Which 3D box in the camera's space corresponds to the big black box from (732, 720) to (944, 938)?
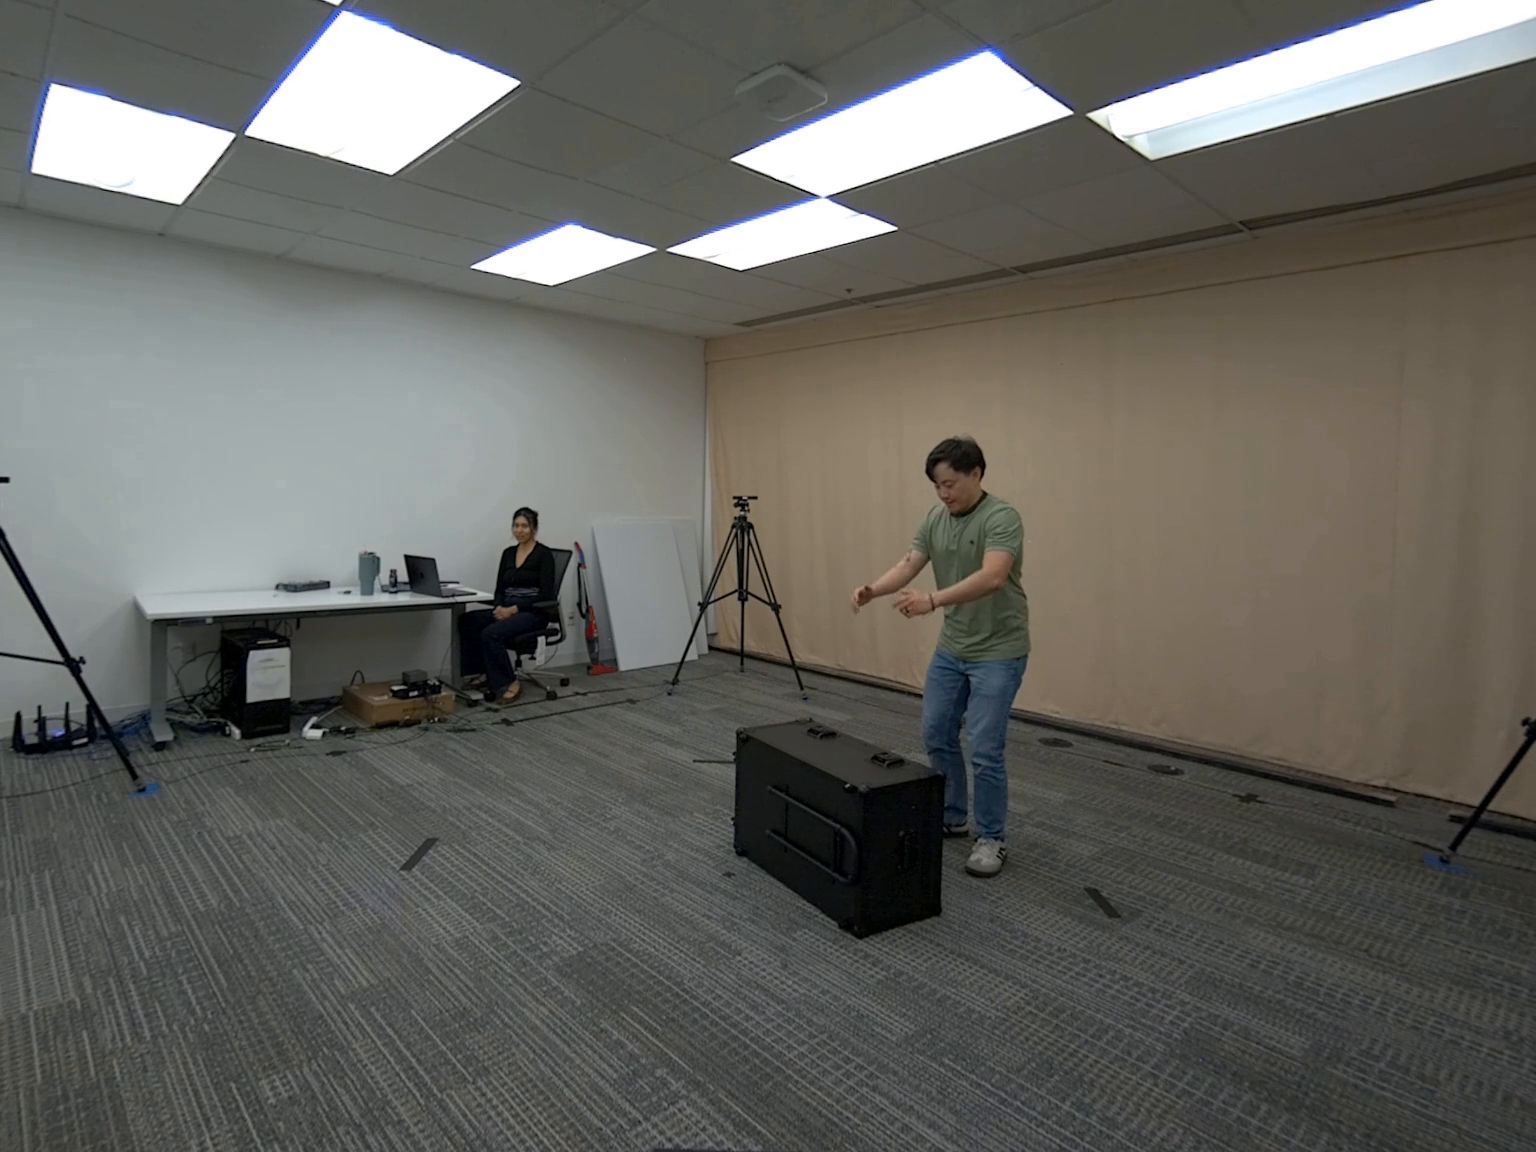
[{"bbox_3d":[0.196,0.871,3.092,0.388,0.520,0.881,-1,5,-31],"label":"big black box"}]
